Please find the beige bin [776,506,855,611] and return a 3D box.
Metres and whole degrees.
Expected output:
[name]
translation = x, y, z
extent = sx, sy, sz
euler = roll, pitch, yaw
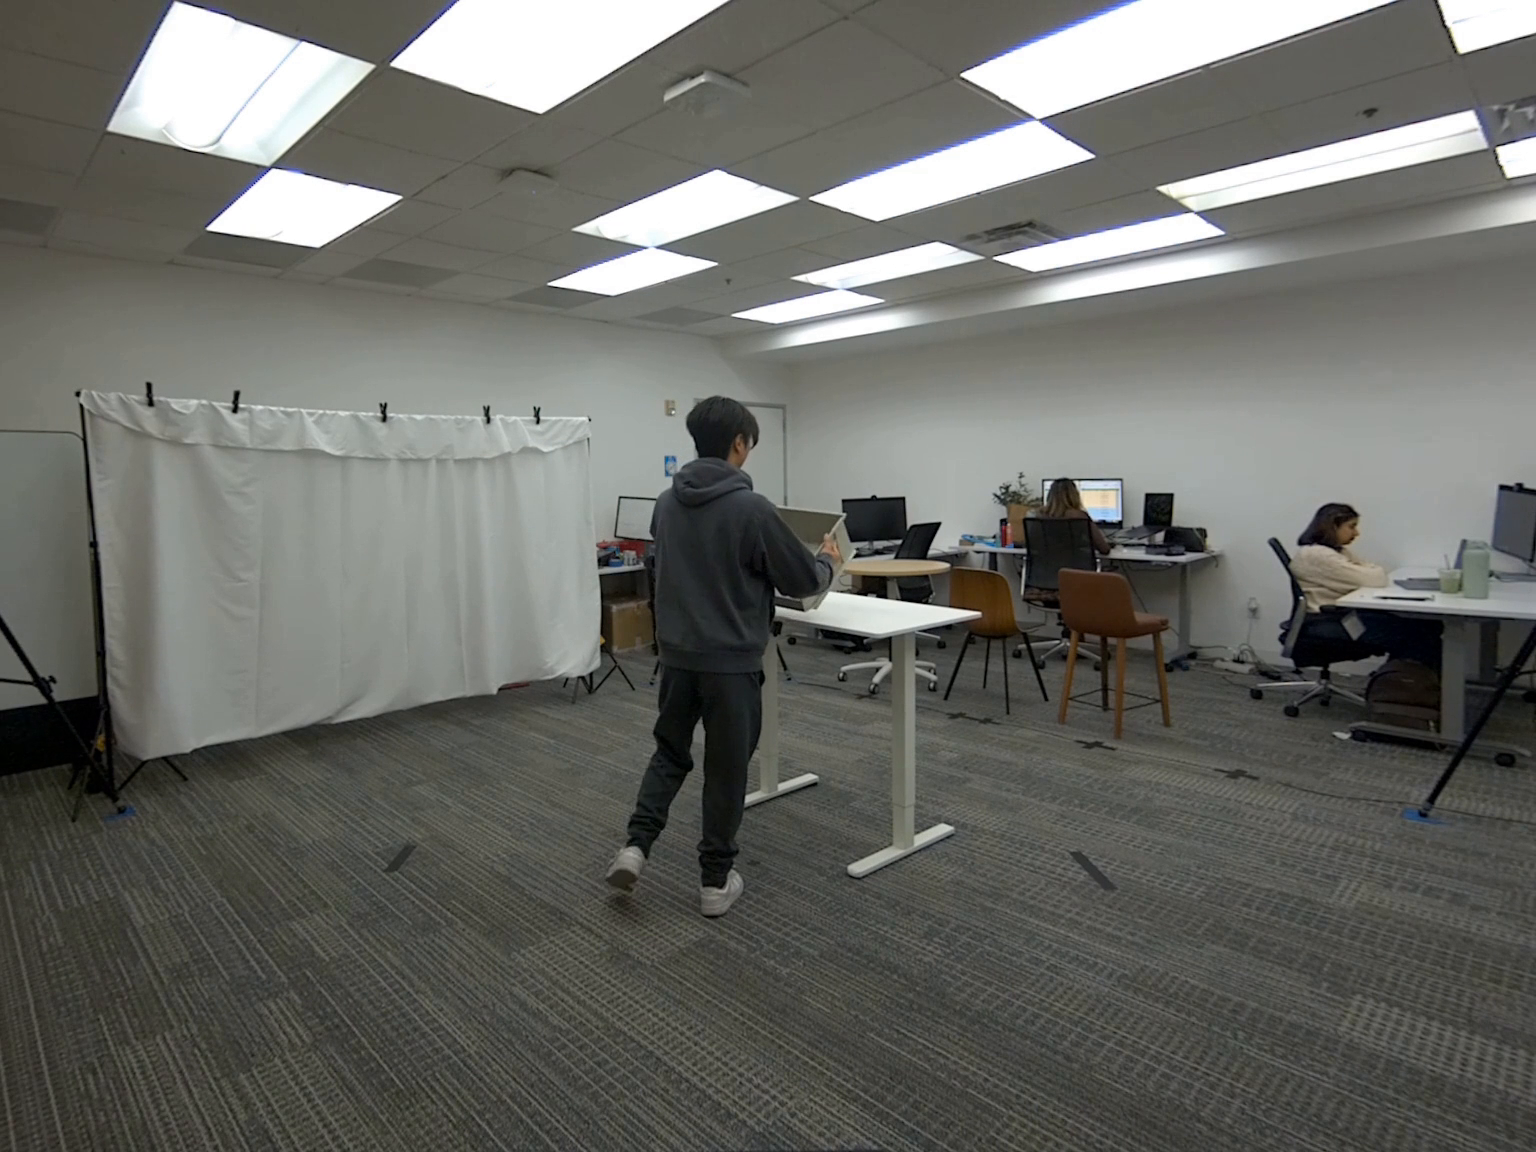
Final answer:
[beige bin]
translation = 0.053, -0.066, 3.217
extent = 0.436, 0.182, 0.378
euler = 9, 48, 40
